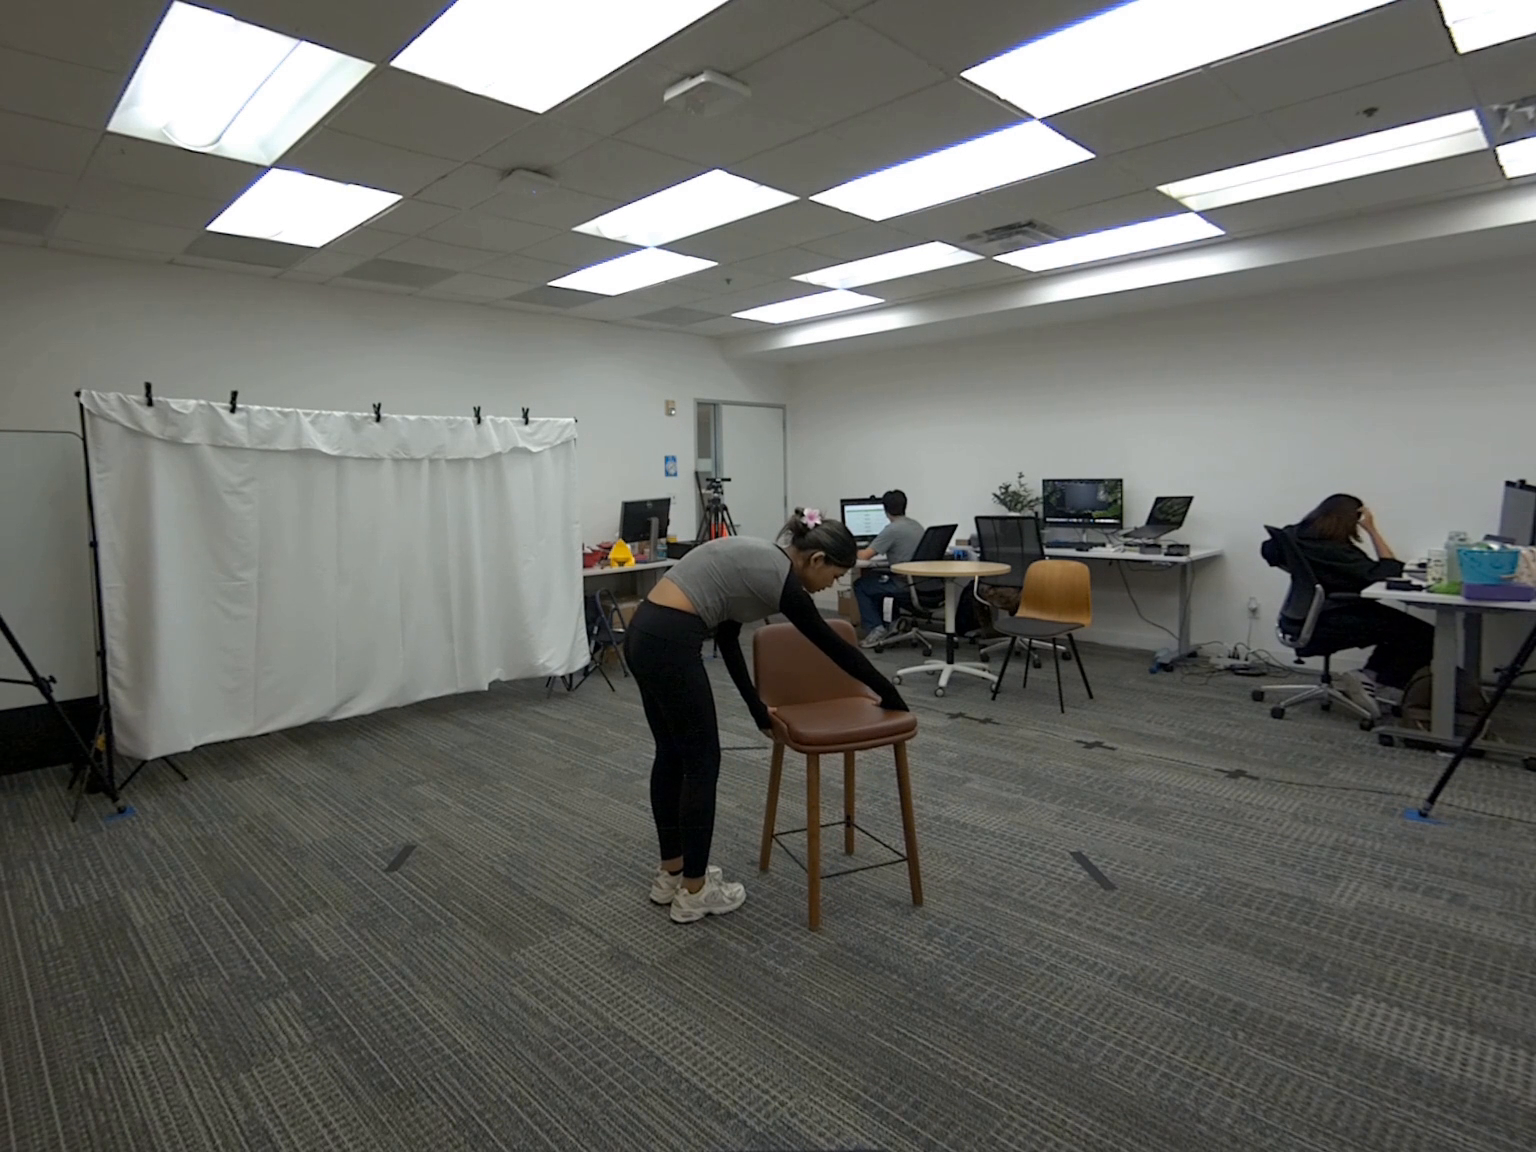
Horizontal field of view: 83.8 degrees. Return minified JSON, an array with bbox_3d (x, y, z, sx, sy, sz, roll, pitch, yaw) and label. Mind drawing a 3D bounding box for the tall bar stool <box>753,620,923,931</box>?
[{"bbox_3d":[0.224,0.625,2.889,0.448,0.888,0.478,-3,3,-23],"label":"tall bar stool"}]
